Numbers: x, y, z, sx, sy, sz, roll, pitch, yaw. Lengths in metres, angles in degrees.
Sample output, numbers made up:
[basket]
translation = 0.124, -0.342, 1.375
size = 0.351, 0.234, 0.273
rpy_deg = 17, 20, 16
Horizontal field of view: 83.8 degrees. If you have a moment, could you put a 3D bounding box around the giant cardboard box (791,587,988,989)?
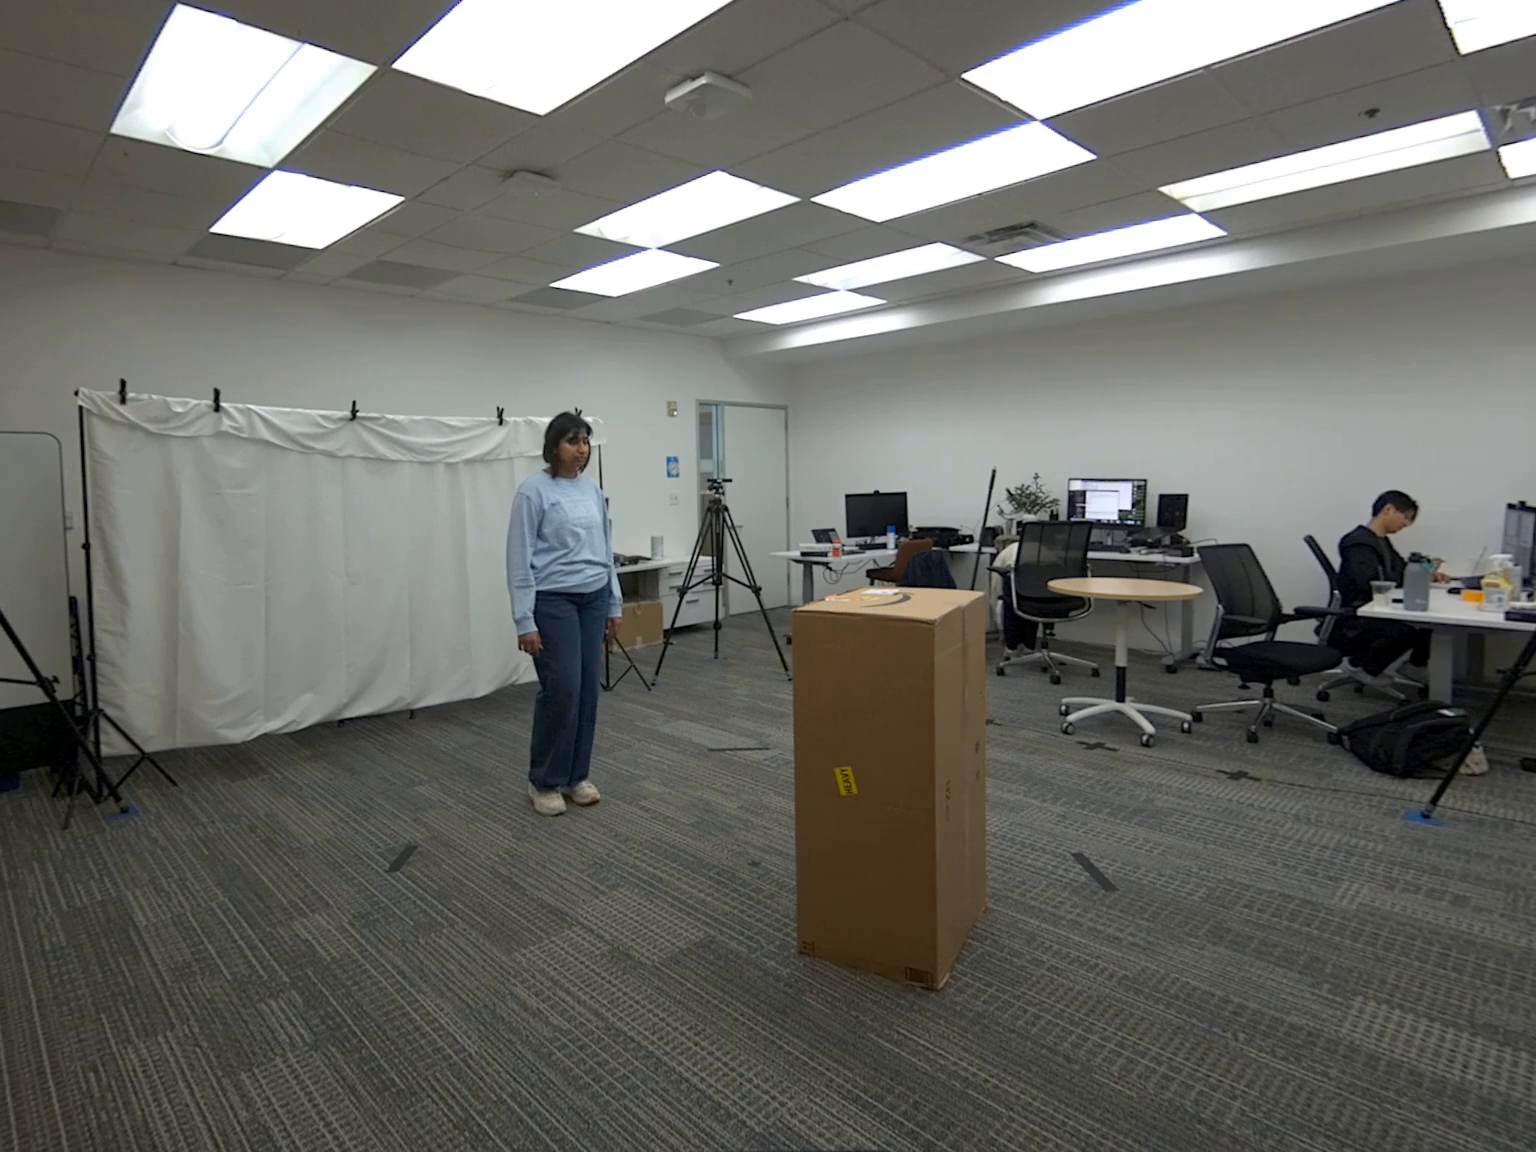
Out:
[giant cardboard box]
translation = 0.395, 0.581, 2.629
size = 0.458, 1.023, 0.571
rpy_deg = 1, 5, 30
